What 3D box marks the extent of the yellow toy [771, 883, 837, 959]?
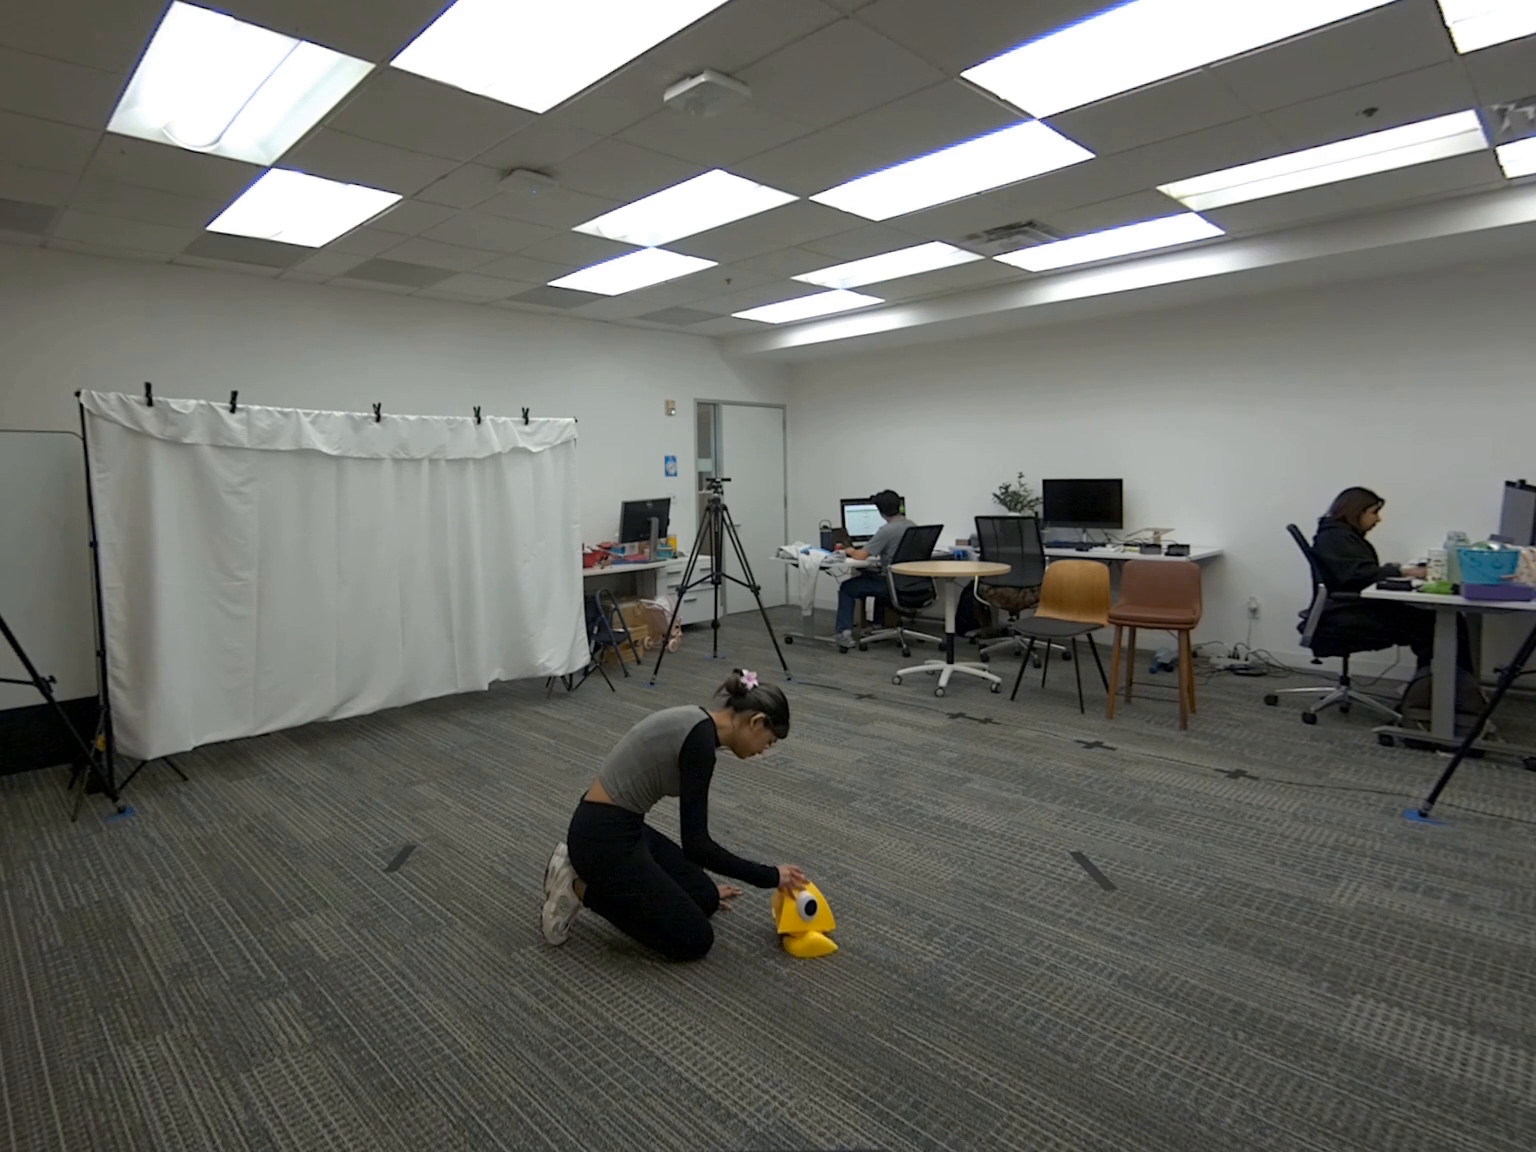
[{"bbox_3d":[0.110,0.981,2.584,0.192,0.230,0.206,-3,5,-4],"label":"yellow toy"}]
